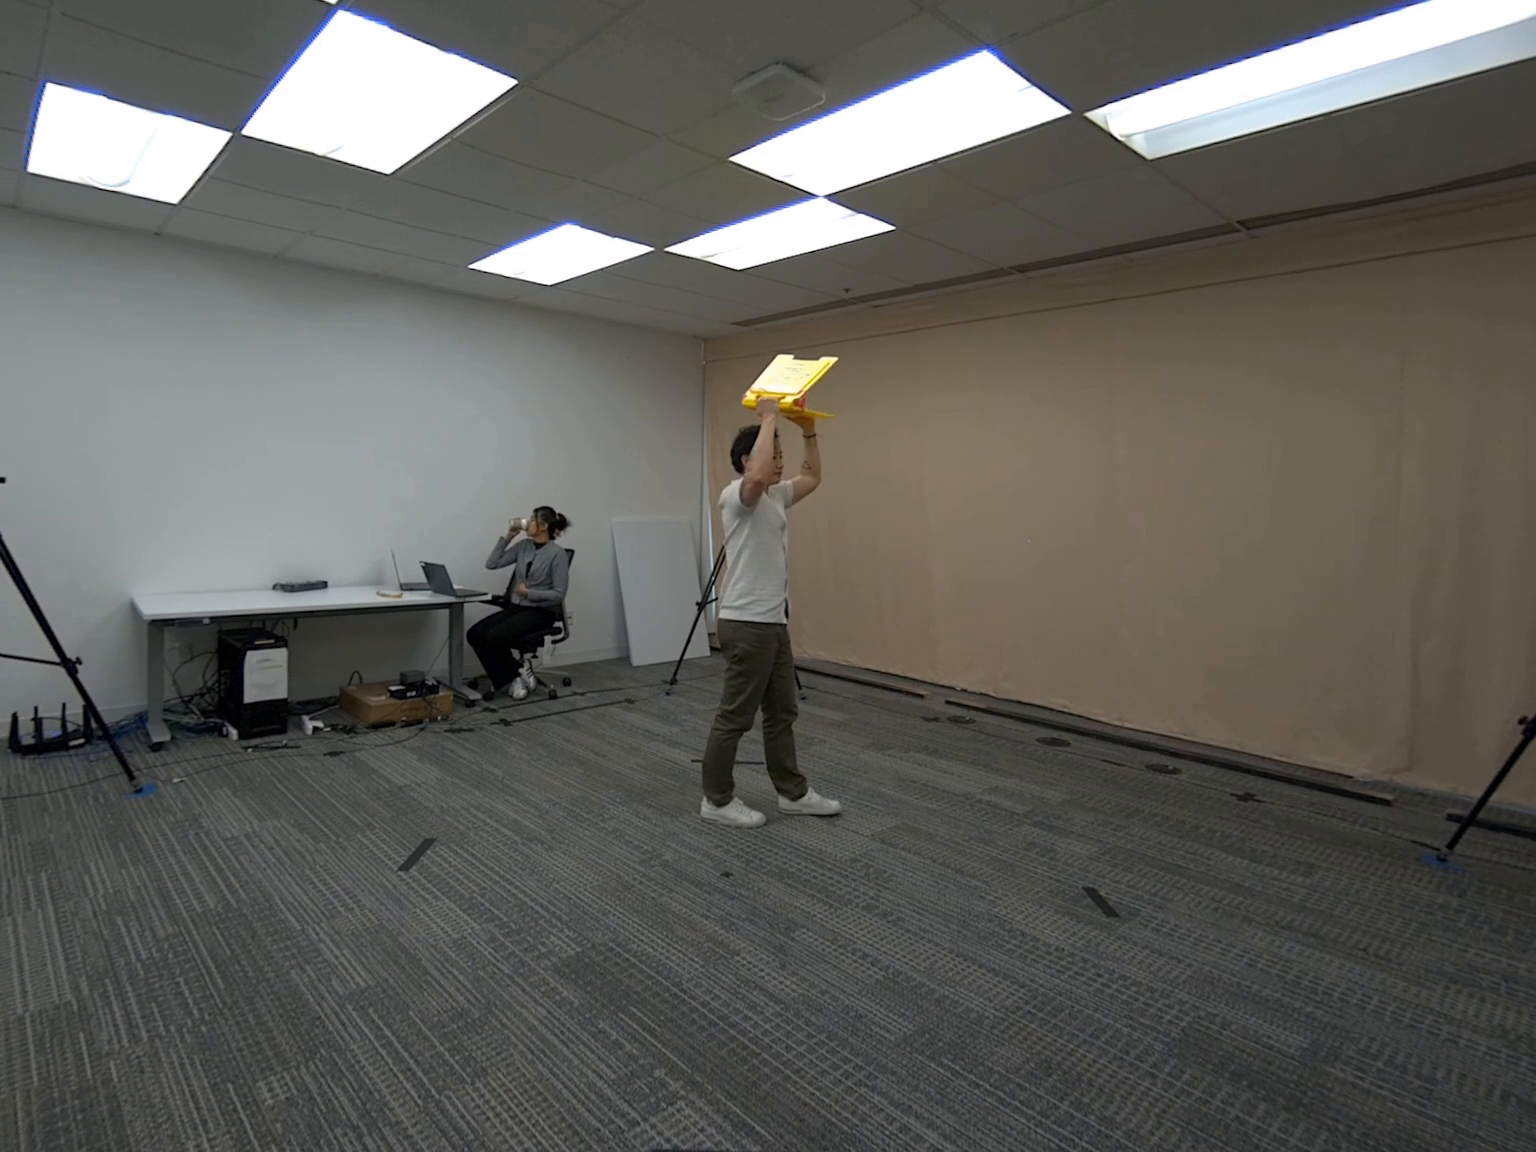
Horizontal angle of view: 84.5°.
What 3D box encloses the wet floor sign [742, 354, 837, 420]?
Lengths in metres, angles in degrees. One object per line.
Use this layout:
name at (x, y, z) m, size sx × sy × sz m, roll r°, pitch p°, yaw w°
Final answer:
wet floor sign at (0.075, -0.764, 3.548) m, size 0.286 × 0.286 × 0.646 m, roll 4°, pitch 20°, yaw 15°
